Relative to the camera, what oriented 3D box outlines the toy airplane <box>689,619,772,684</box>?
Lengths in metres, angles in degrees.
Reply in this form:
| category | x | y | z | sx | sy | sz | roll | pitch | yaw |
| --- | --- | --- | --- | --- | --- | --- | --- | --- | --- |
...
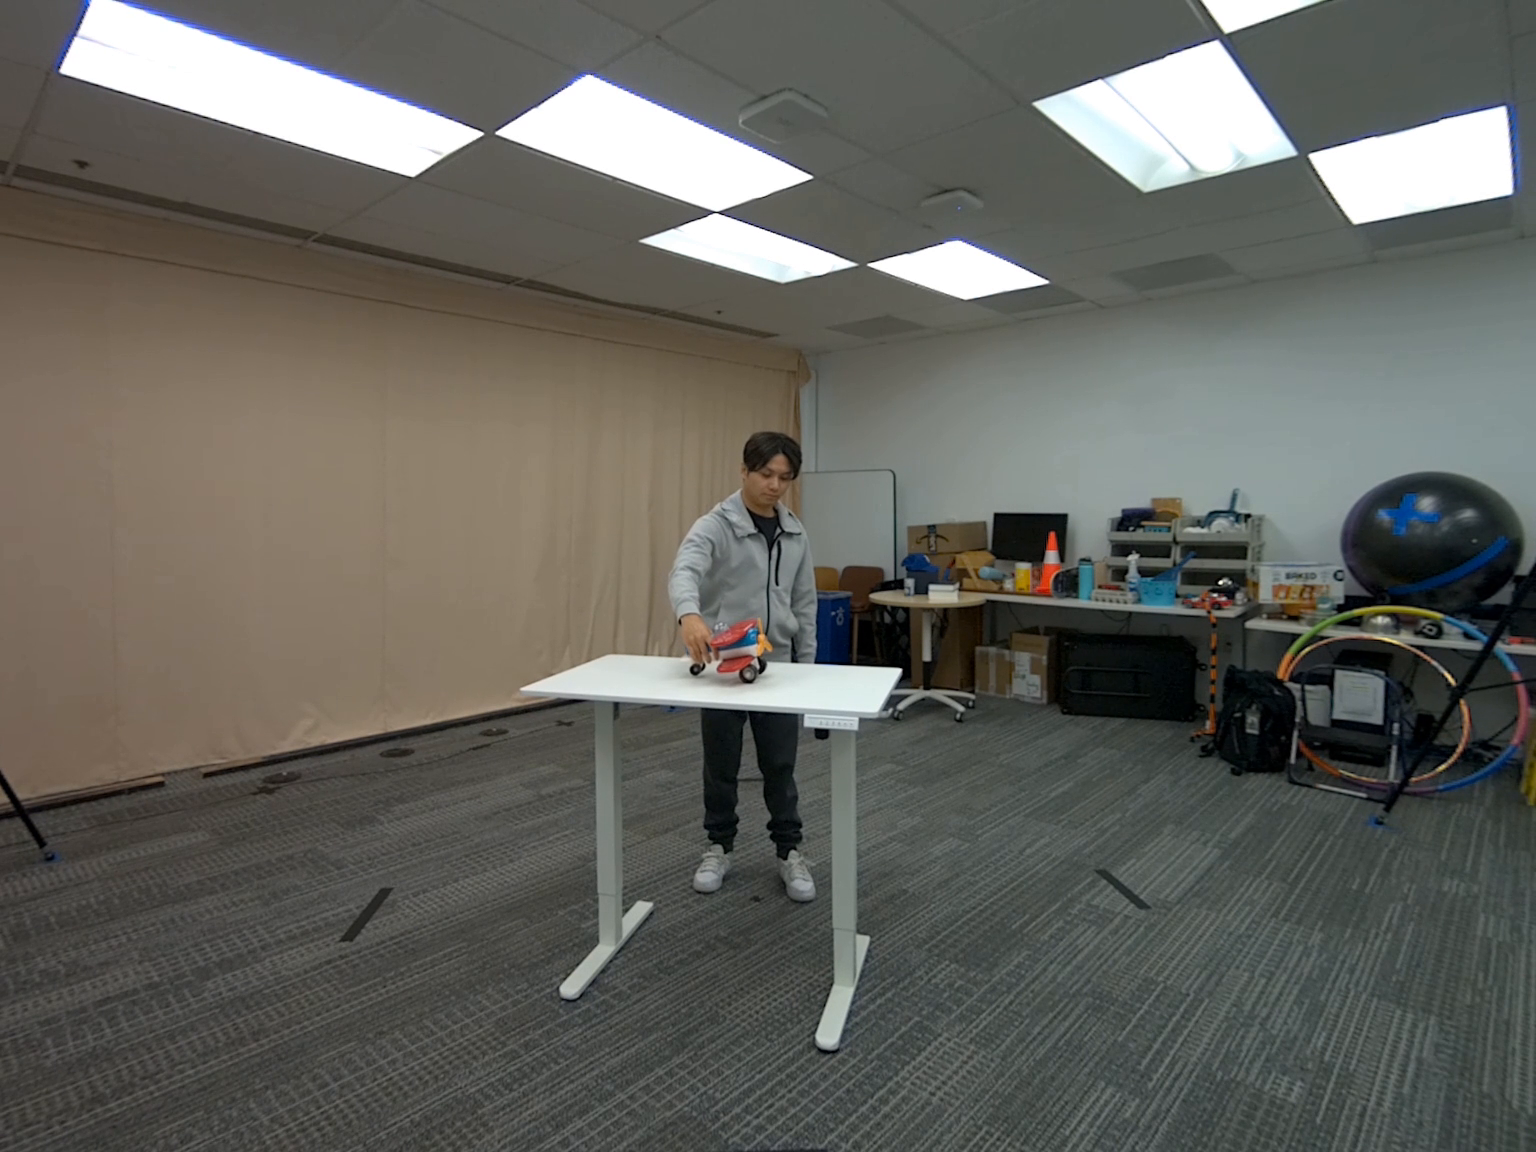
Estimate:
| category | x | y | z | sx | sy | sz | roll | pitch | yaw |
| --- | --- | --- | --- | --- | --- | --- | --- | --- | --- |
| toy airplane | -0.129 | 0.224 | 2.464 | 0.257 | 0.155 | 0.255 | -3 | 12 | -8 |
